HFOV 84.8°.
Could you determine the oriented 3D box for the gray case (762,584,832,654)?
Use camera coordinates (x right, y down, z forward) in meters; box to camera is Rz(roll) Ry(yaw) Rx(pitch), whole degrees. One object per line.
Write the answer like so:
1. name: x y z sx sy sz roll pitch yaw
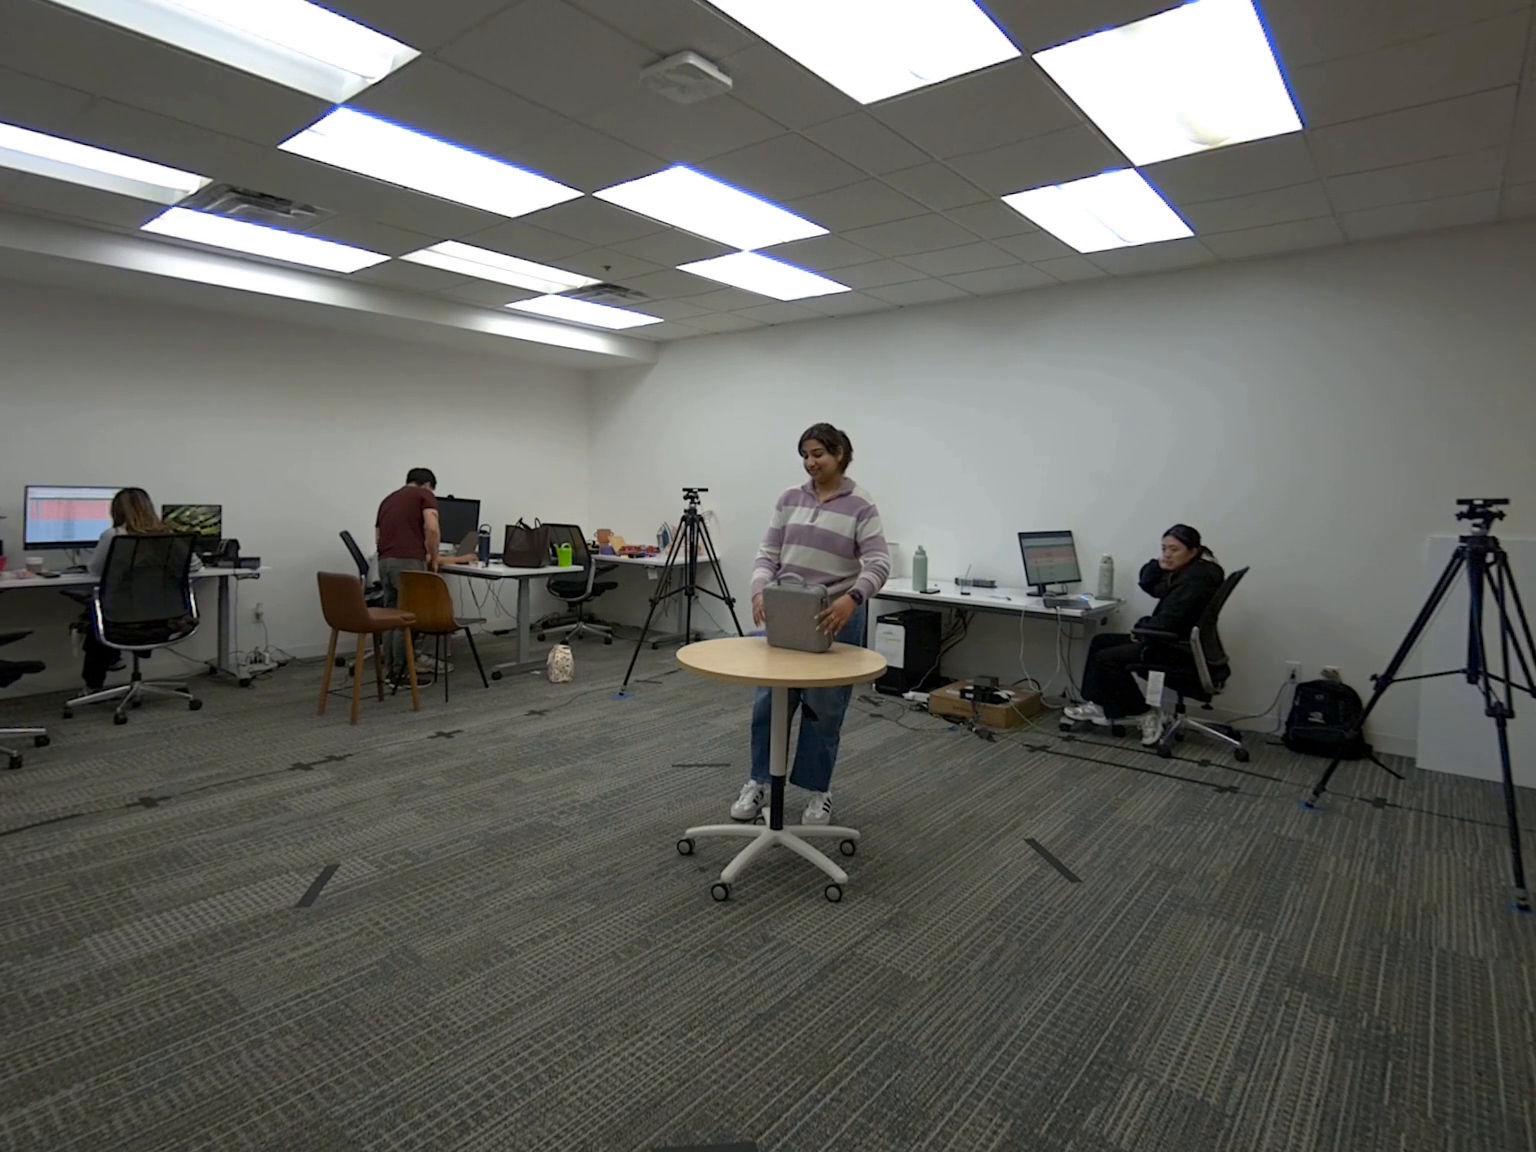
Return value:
1. gray case: 0.102 0.145 3.240 0.265 0.257 0.102 4 16 36
